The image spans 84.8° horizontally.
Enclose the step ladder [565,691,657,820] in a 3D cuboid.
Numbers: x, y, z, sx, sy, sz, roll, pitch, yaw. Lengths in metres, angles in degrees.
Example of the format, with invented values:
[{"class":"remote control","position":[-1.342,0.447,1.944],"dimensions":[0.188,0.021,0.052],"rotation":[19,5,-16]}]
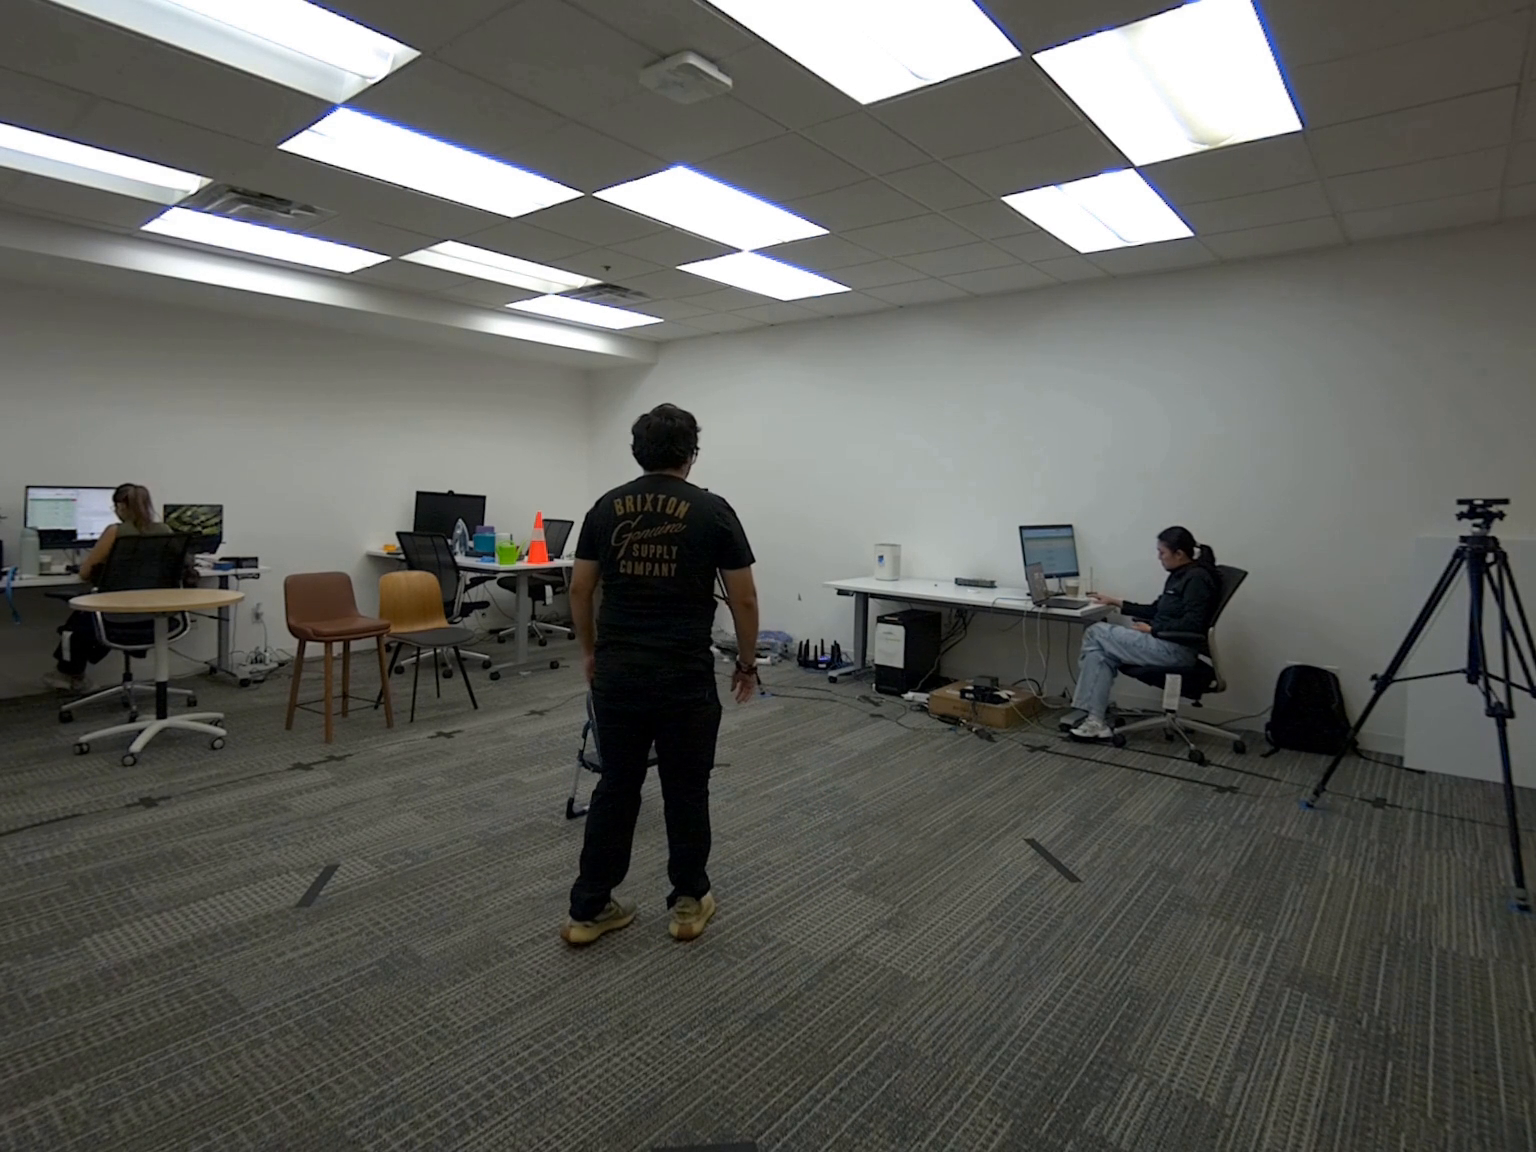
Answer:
[{"class":"step ladder","position":[-0.594,0.712,3.599],"dimensions":[0.360,0.605,0.417],"rotation":[3,2,37]}]
